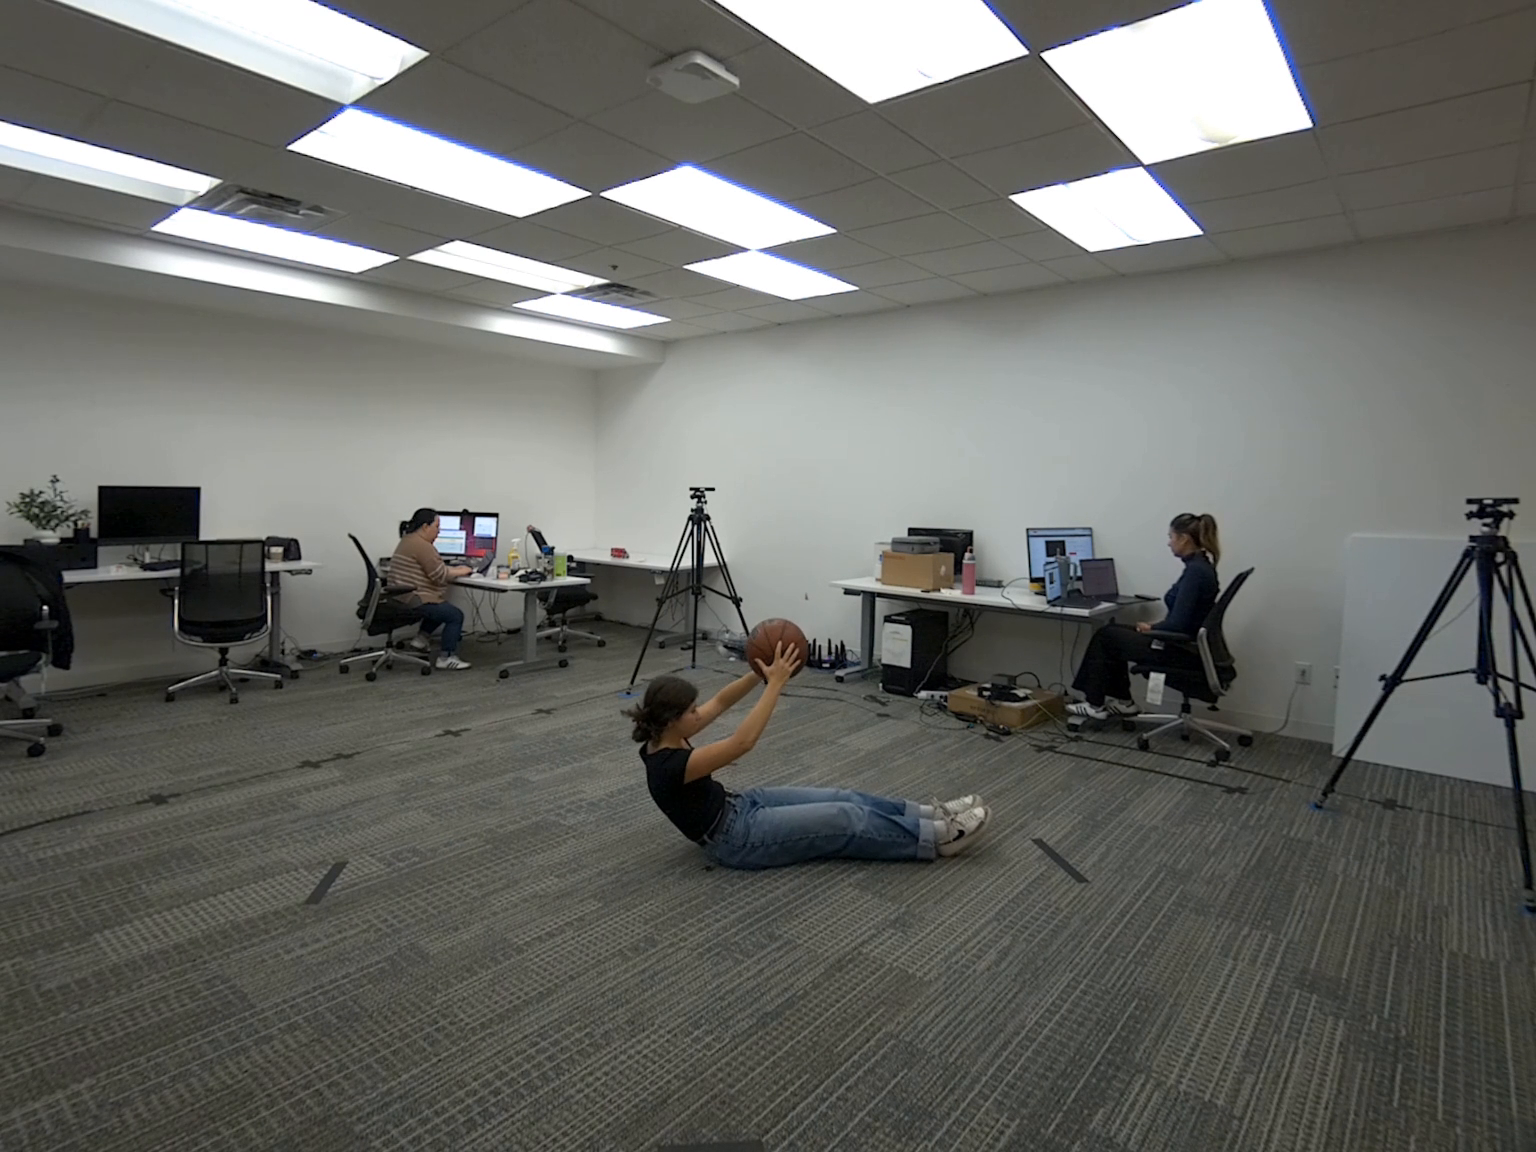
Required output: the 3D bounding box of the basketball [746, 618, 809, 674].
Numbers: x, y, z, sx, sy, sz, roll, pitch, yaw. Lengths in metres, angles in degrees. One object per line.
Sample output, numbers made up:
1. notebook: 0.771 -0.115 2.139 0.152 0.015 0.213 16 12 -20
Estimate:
1. basketball: 0.020 0.277 3.216 0.235 0.235 0.237 1 4 -2
